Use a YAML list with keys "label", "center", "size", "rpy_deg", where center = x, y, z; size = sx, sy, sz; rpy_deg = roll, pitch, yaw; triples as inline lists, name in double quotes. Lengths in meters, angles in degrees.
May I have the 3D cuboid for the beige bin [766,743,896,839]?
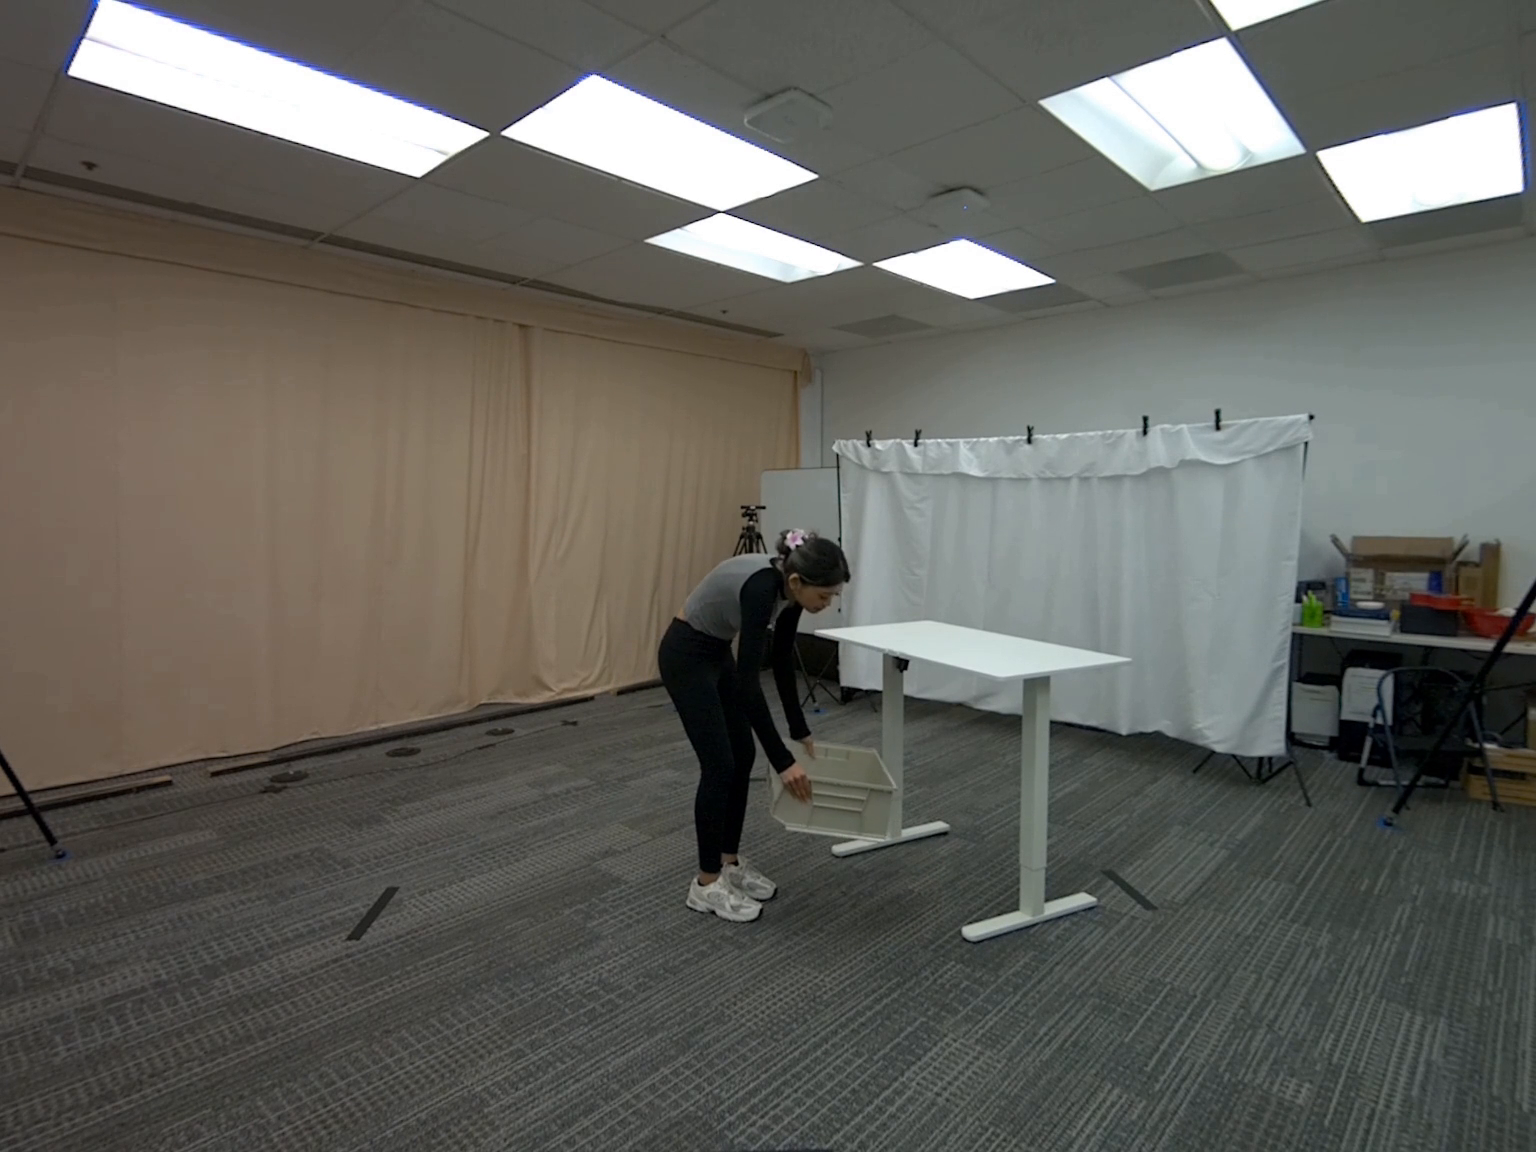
- label: "beige bin"
  center: [0.189, 0.712, 2.808]
  size: [0.377, 0.189, 0.423]
  rpy_deg: [7, 3, -1]
